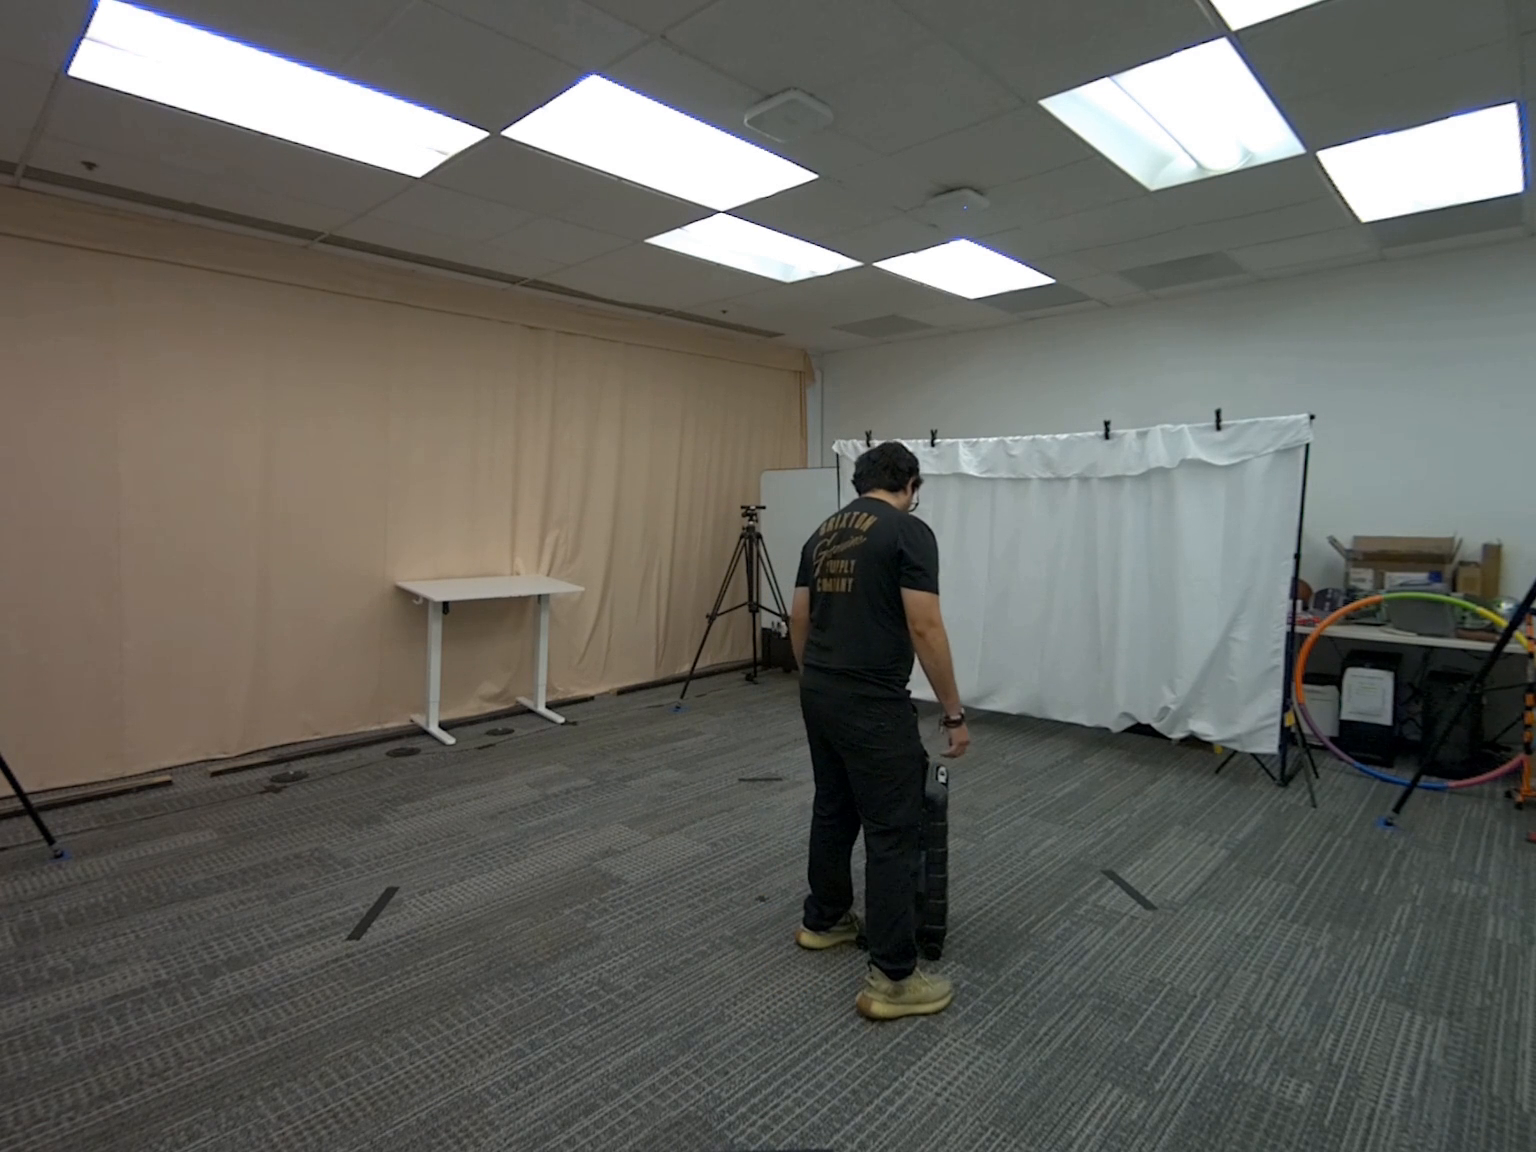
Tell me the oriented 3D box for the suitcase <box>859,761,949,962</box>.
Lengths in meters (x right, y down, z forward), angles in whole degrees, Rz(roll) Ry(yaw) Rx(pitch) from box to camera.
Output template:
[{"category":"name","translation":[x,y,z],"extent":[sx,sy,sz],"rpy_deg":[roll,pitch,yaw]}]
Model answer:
[{"category":"suitcase","translation":[0.464,0.889,2.737],"extent":[0.252,0.548,0.371],"rpy_deg":[2,4,13]}]
